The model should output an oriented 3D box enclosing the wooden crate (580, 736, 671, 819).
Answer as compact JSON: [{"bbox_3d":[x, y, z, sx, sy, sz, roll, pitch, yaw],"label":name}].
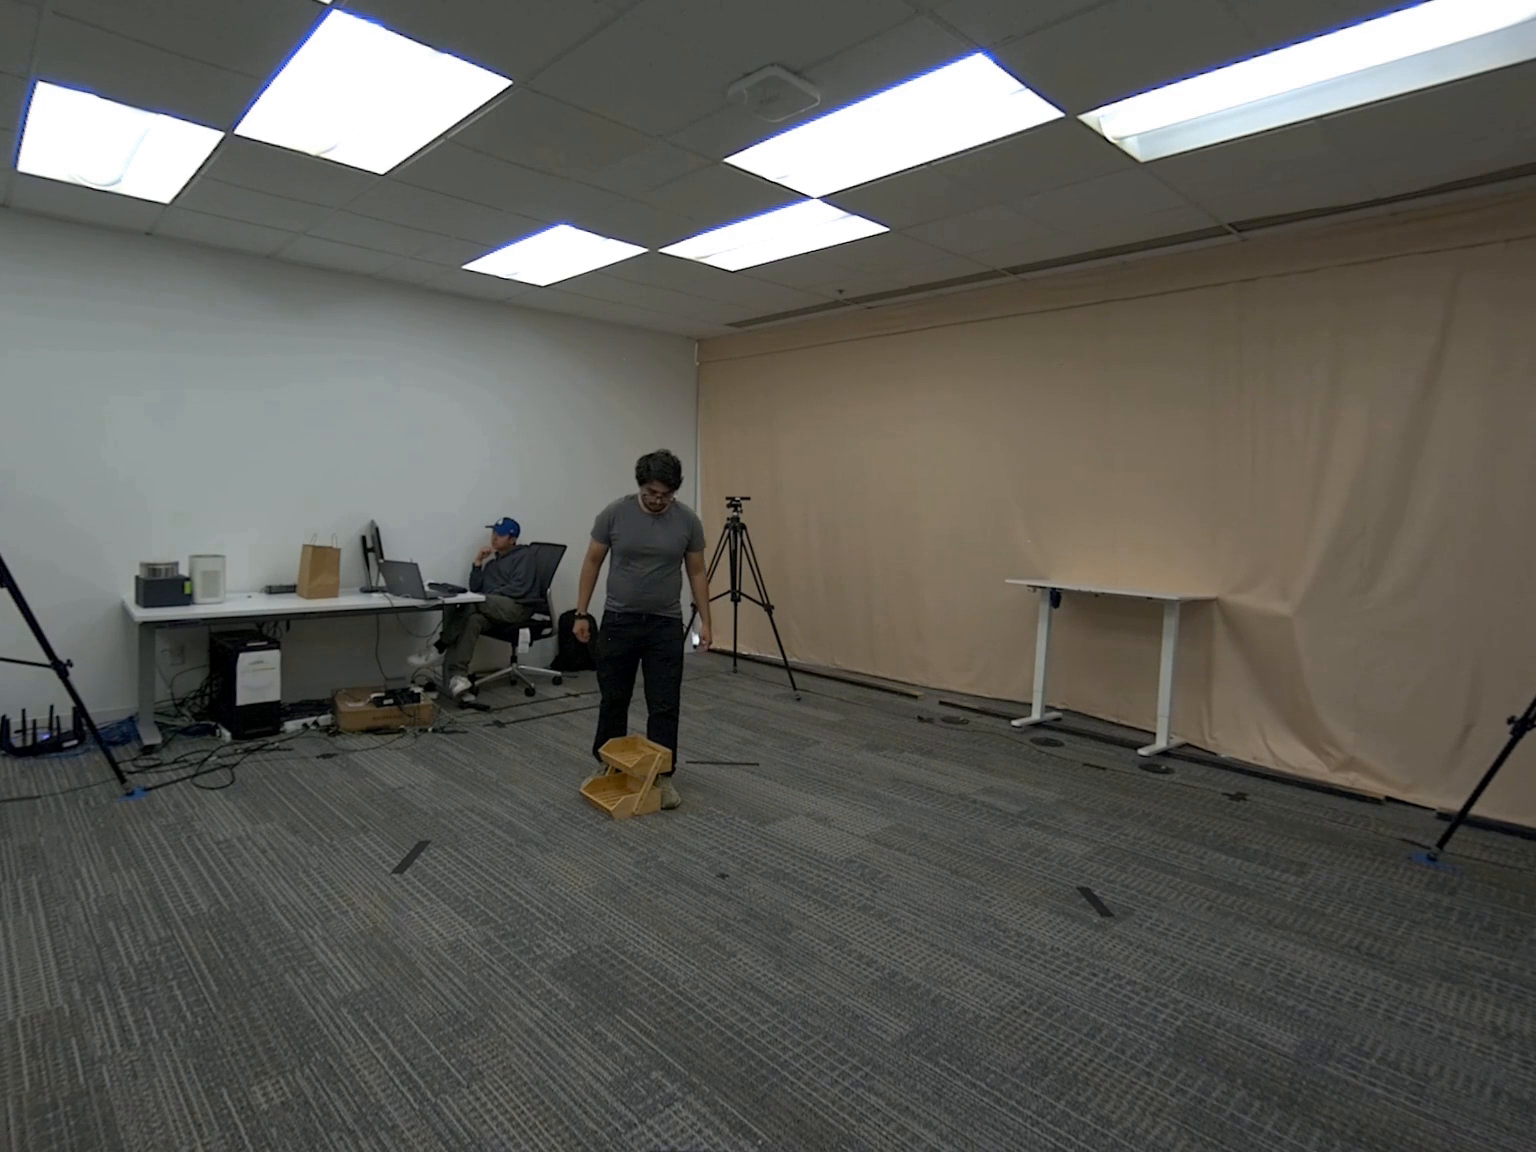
[{"bbox_3d":[-0.660,0.901,3.809,0.295,0.273,0.333,-1,5,-38],"label":"wooden crate"}]
